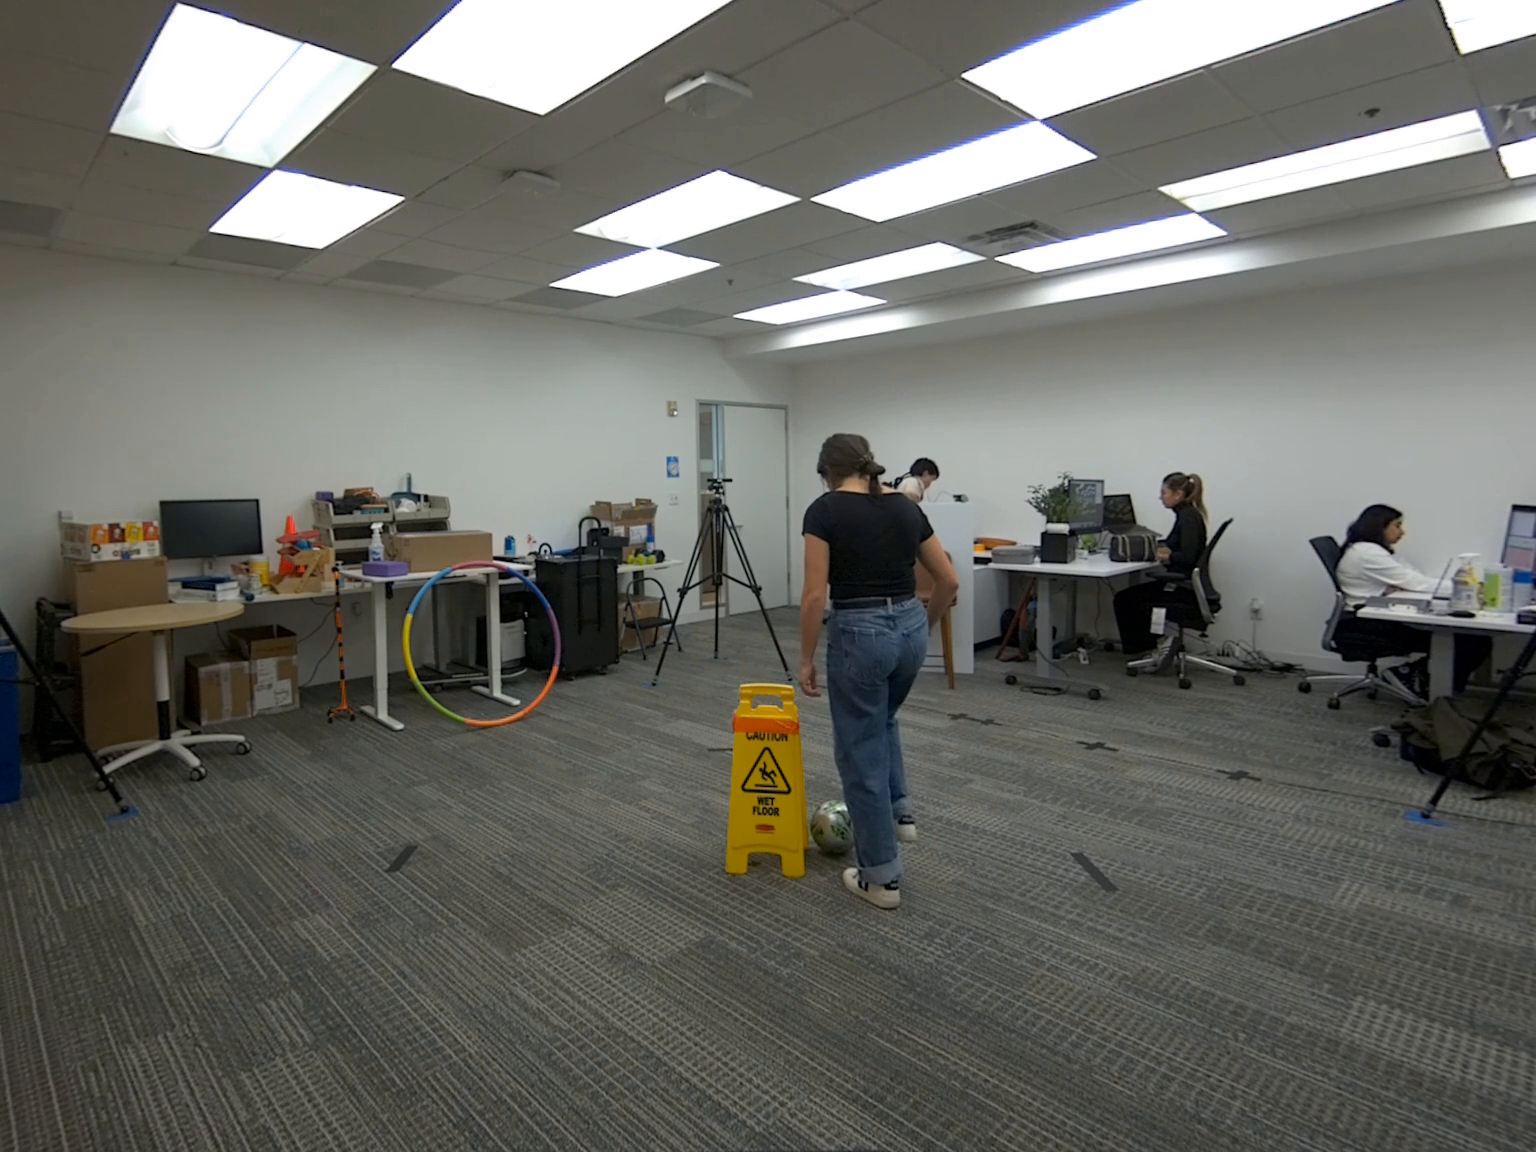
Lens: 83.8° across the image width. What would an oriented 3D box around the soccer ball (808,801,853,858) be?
[{"bbox_3d":[0.262,0.938,3.189,0.187,0.187,0.188,-1,5,-2],"label":"soccer ball"}]
